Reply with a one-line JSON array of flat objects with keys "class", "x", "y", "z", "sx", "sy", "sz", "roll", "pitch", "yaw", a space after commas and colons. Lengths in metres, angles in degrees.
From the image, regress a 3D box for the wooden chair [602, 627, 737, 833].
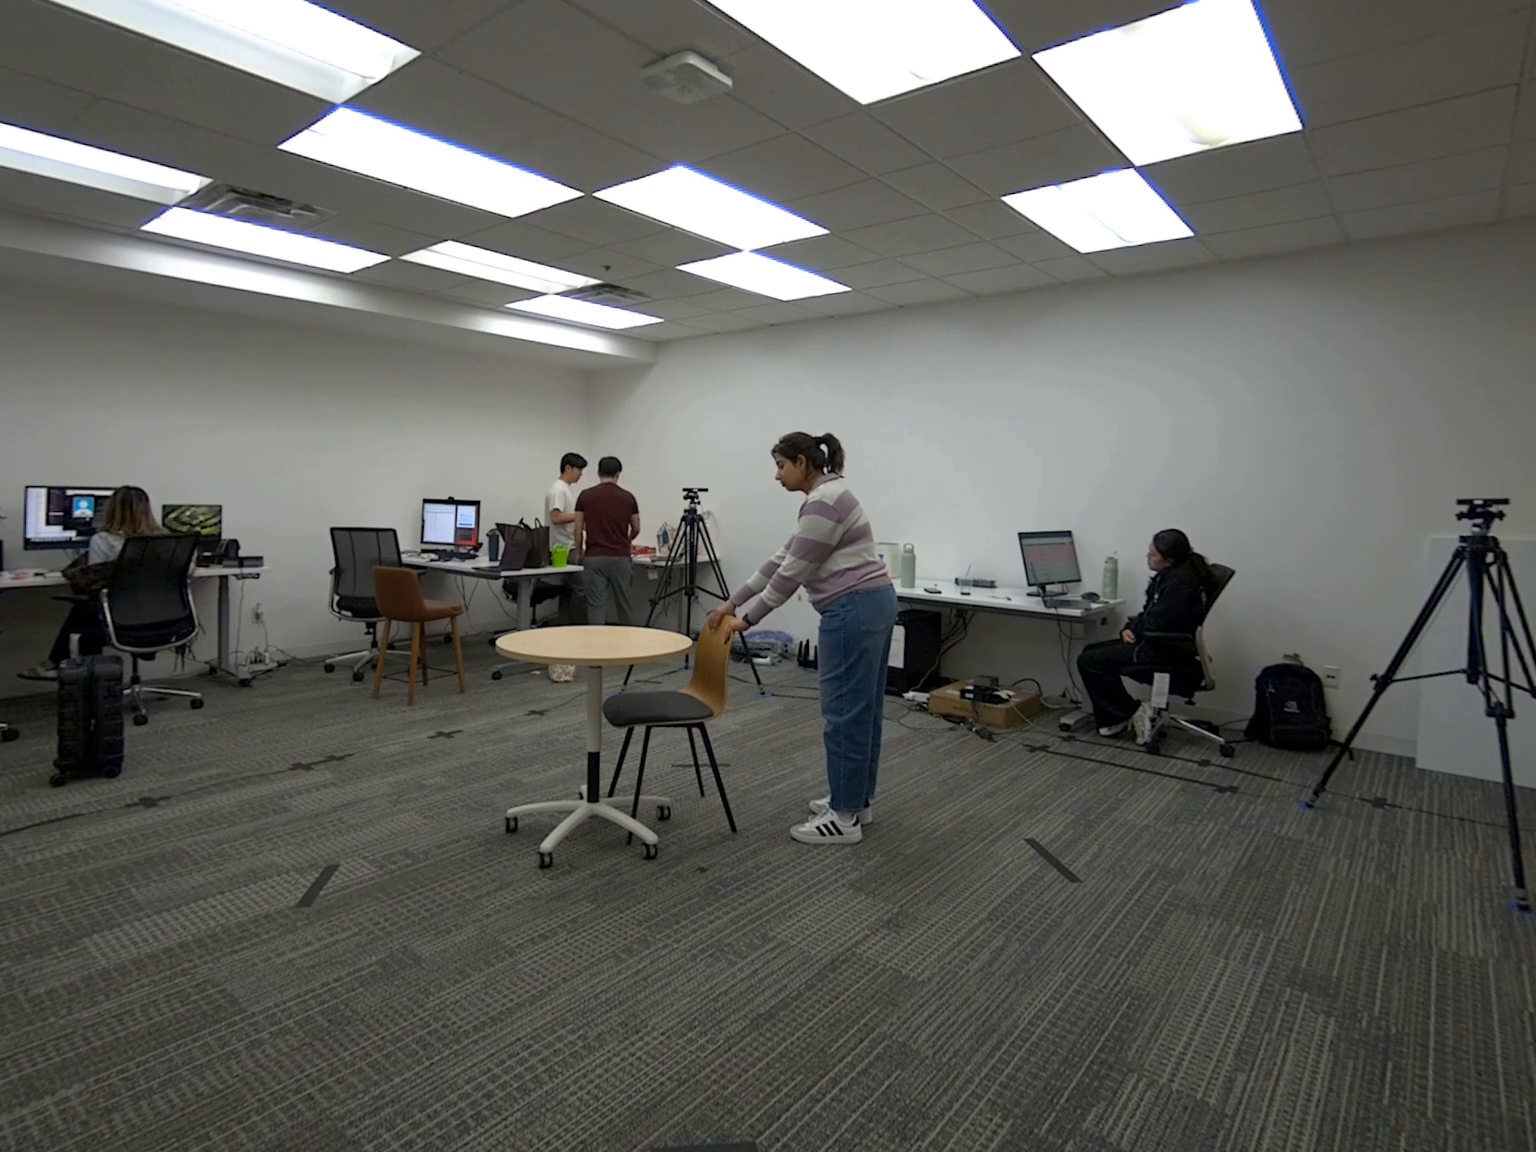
[{"class": "wooden chair", "x": -0.429, "y": 0.597, "z": 3.562, "sx": 0.511, "sy": 0.876, "sz": 0.490, "roll": 4, "pitch": 2, "yaw": -22}]
